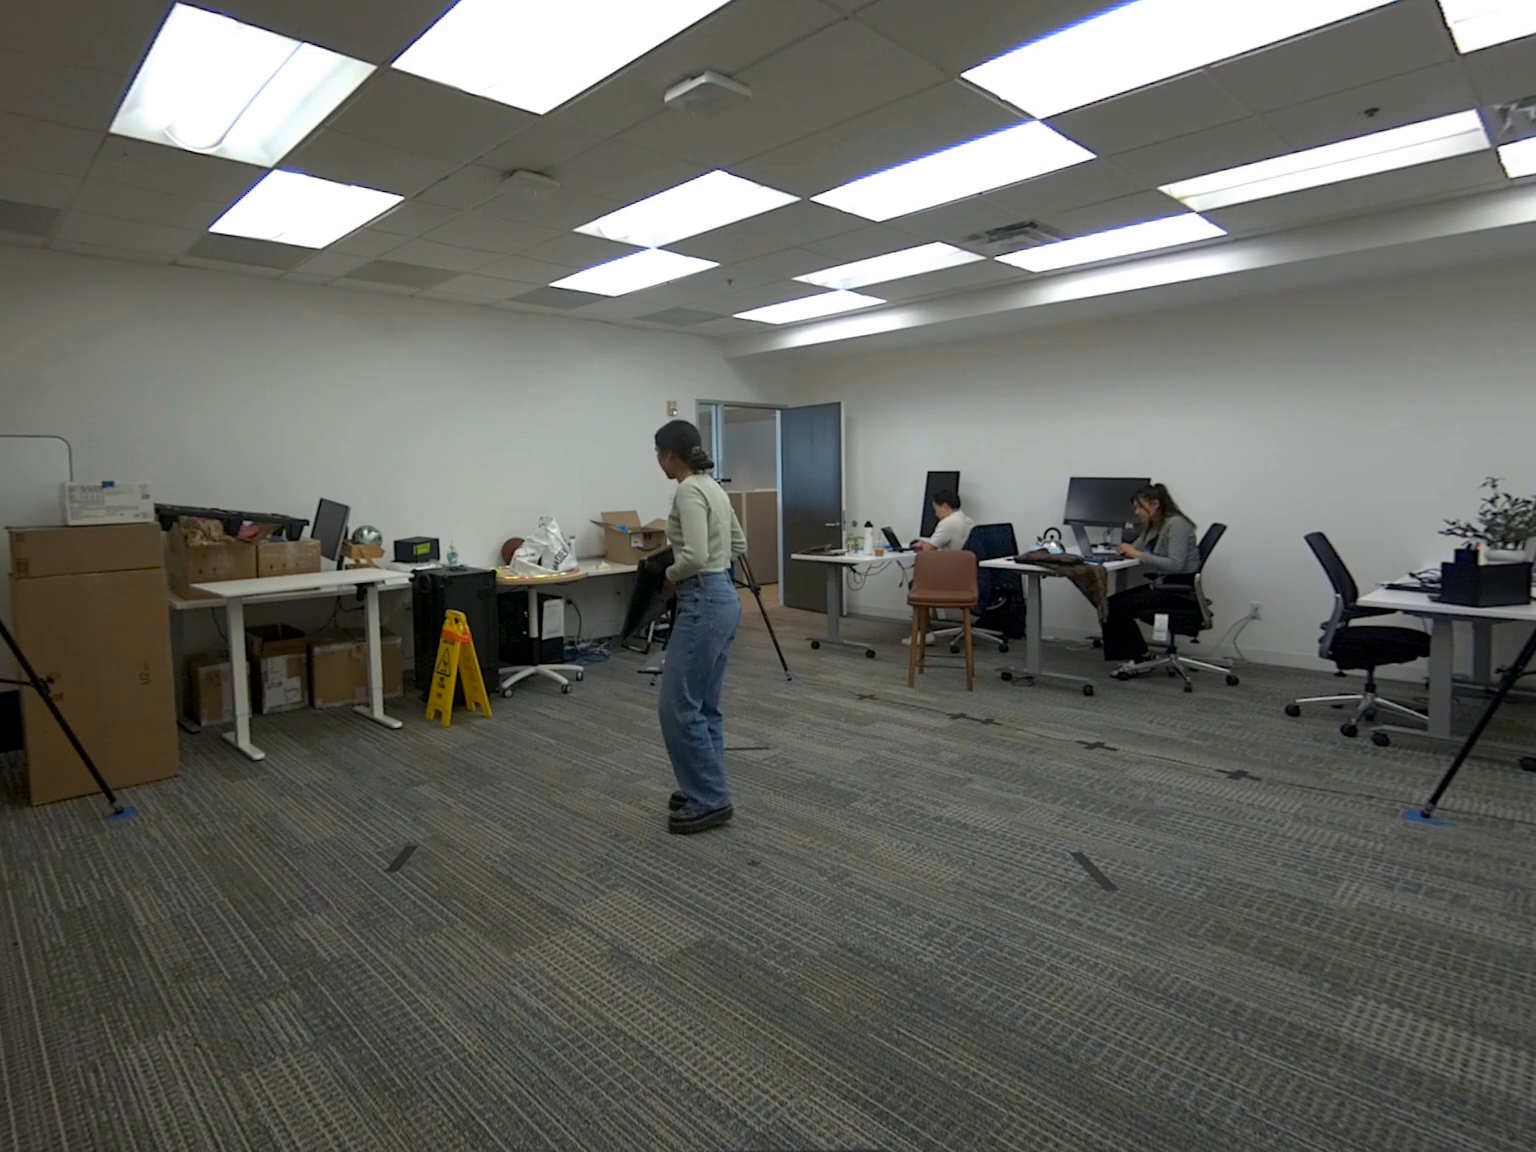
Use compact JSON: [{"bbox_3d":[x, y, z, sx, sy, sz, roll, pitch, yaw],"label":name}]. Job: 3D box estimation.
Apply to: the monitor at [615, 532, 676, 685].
[{"bbox_3d":[-0.425,0.113,3.604,0.177,0.511,0.526,-1,11,17],"label":"monitor"}]
